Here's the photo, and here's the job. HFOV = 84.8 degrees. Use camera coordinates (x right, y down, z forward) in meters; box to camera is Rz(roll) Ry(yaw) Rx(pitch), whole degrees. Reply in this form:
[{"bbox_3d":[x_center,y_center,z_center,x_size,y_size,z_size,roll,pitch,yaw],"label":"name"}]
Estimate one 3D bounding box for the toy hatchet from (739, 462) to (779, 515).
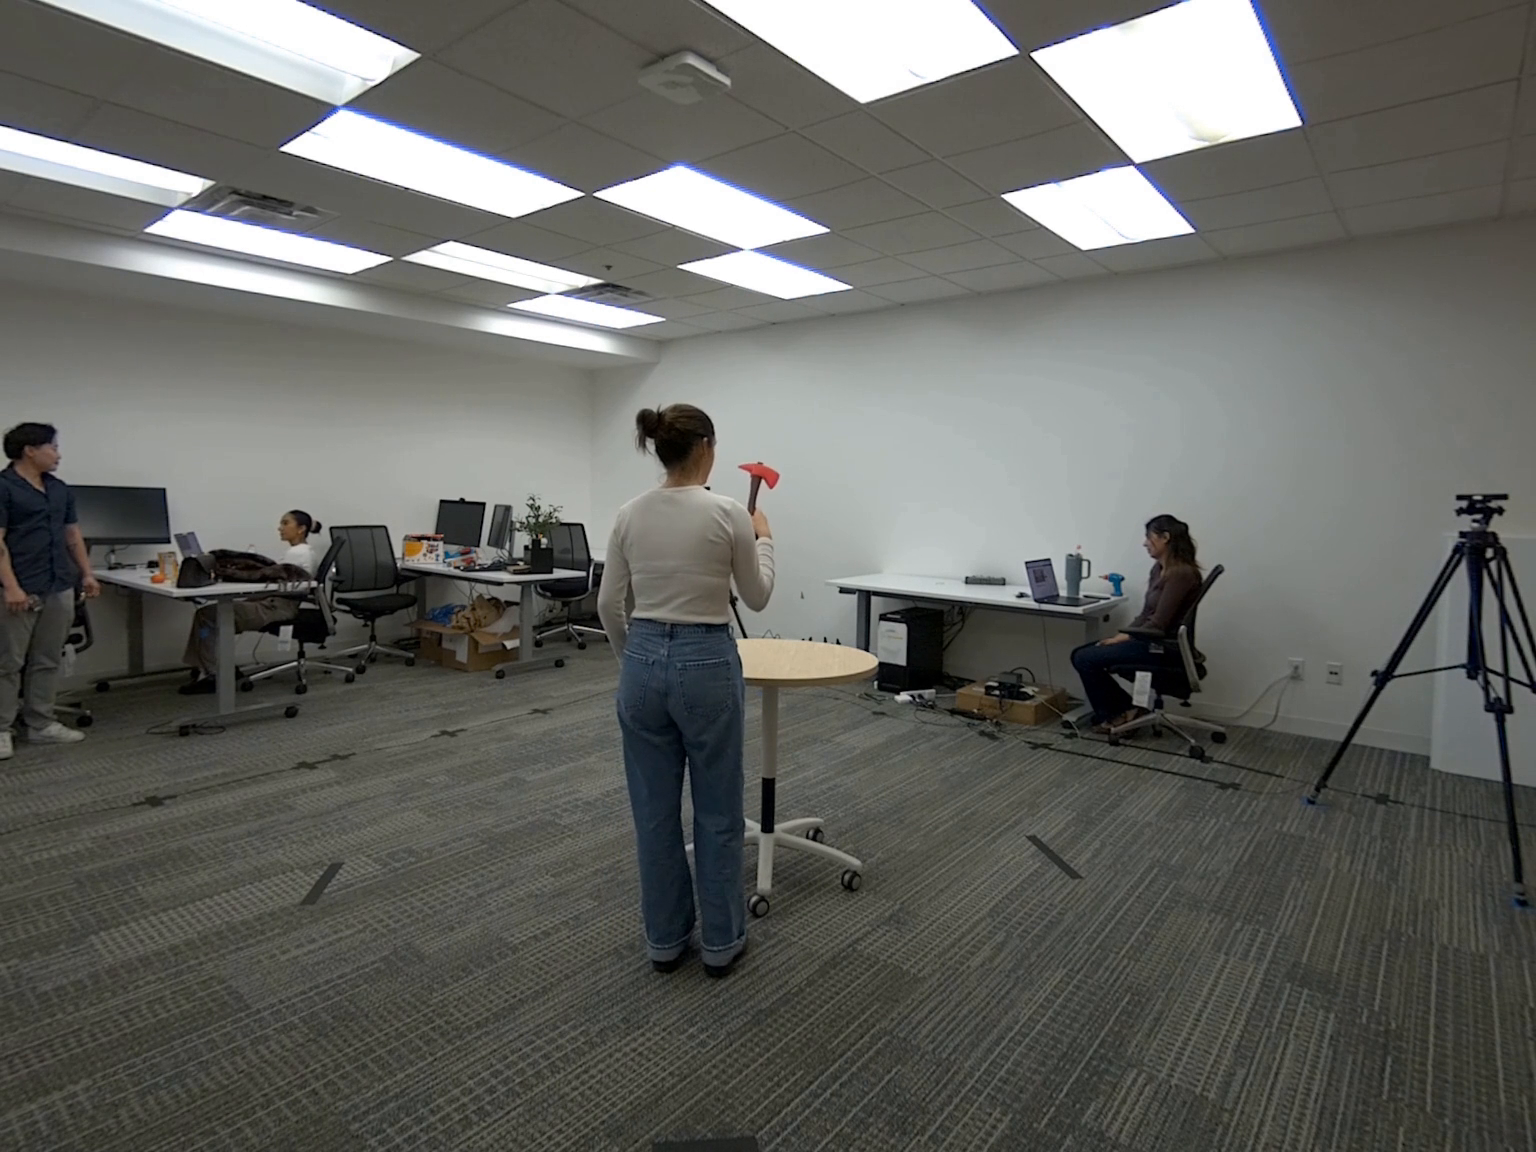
[{"bbox_3d":[-0.018,-0.241,2.668,0.129,0.275,0.029,-5,-19,-15],"label":"toy hatchet"}]
